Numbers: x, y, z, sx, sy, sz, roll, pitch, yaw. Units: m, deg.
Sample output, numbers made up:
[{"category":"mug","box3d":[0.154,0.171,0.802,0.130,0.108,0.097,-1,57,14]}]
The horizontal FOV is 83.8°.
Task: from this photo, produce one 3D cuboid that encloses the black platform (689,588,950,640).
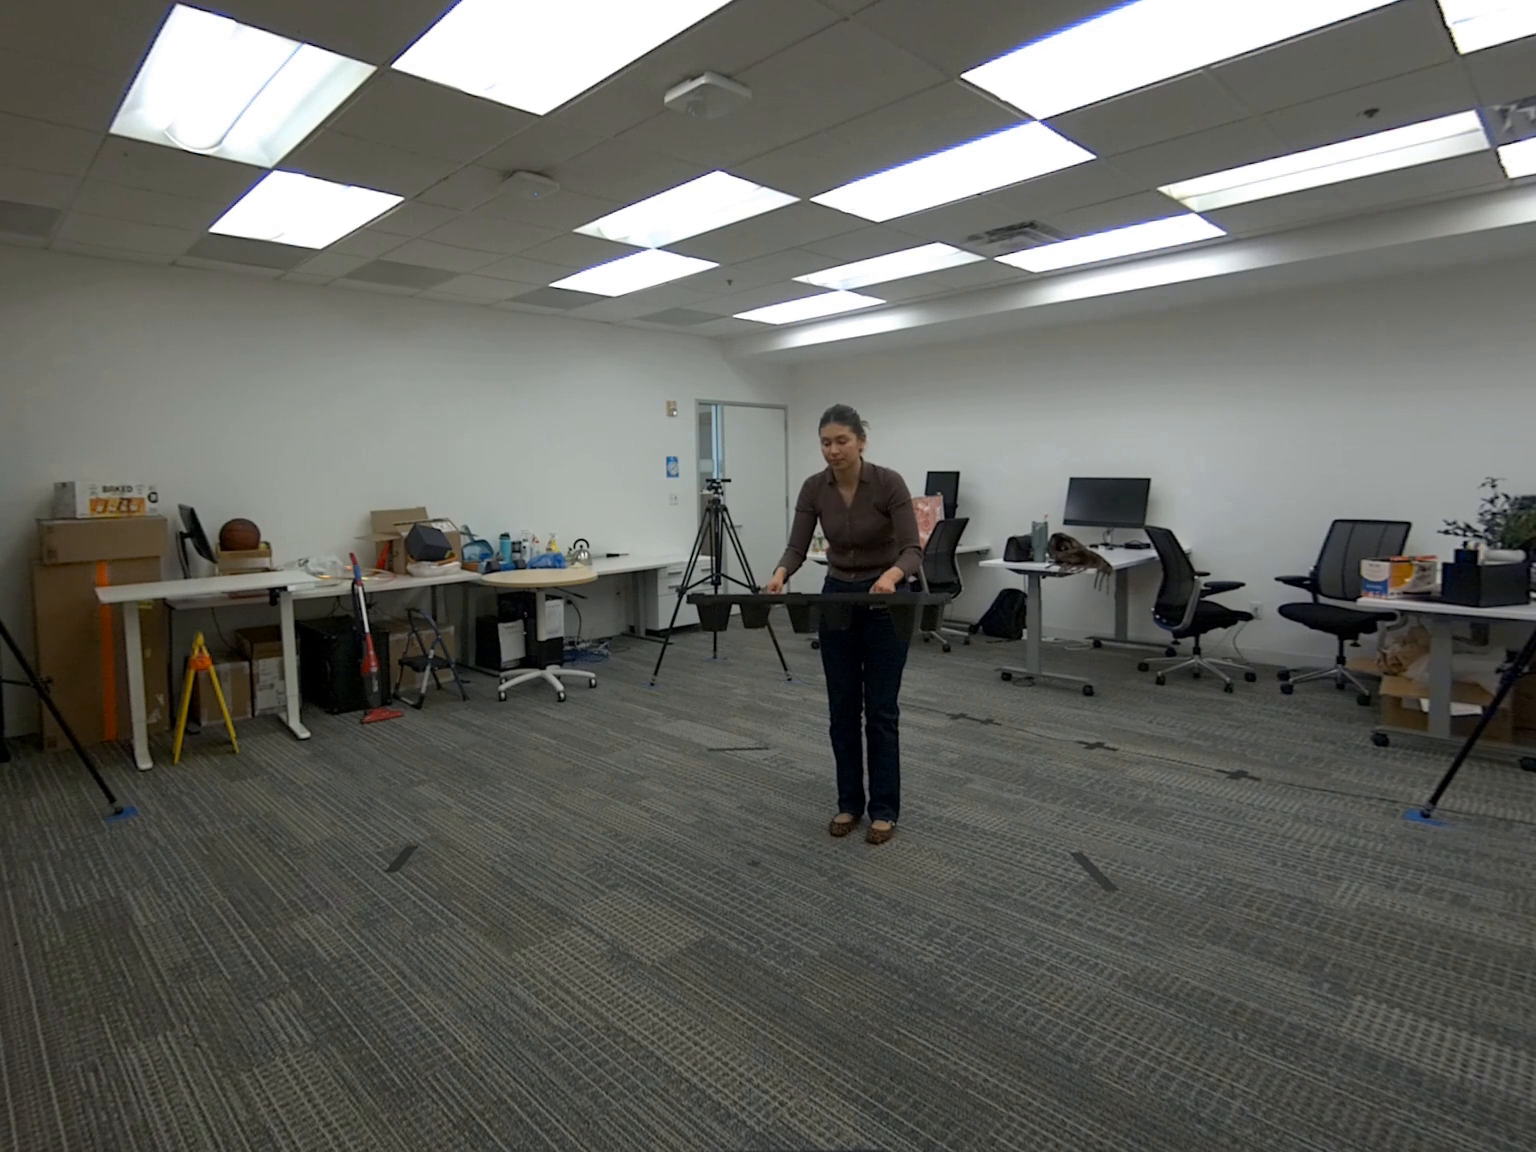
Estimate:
[{"category":"black platform","box3d":[0.198,0.133,3.028,0.823,0.144,0.590,0,-1,25]}]
